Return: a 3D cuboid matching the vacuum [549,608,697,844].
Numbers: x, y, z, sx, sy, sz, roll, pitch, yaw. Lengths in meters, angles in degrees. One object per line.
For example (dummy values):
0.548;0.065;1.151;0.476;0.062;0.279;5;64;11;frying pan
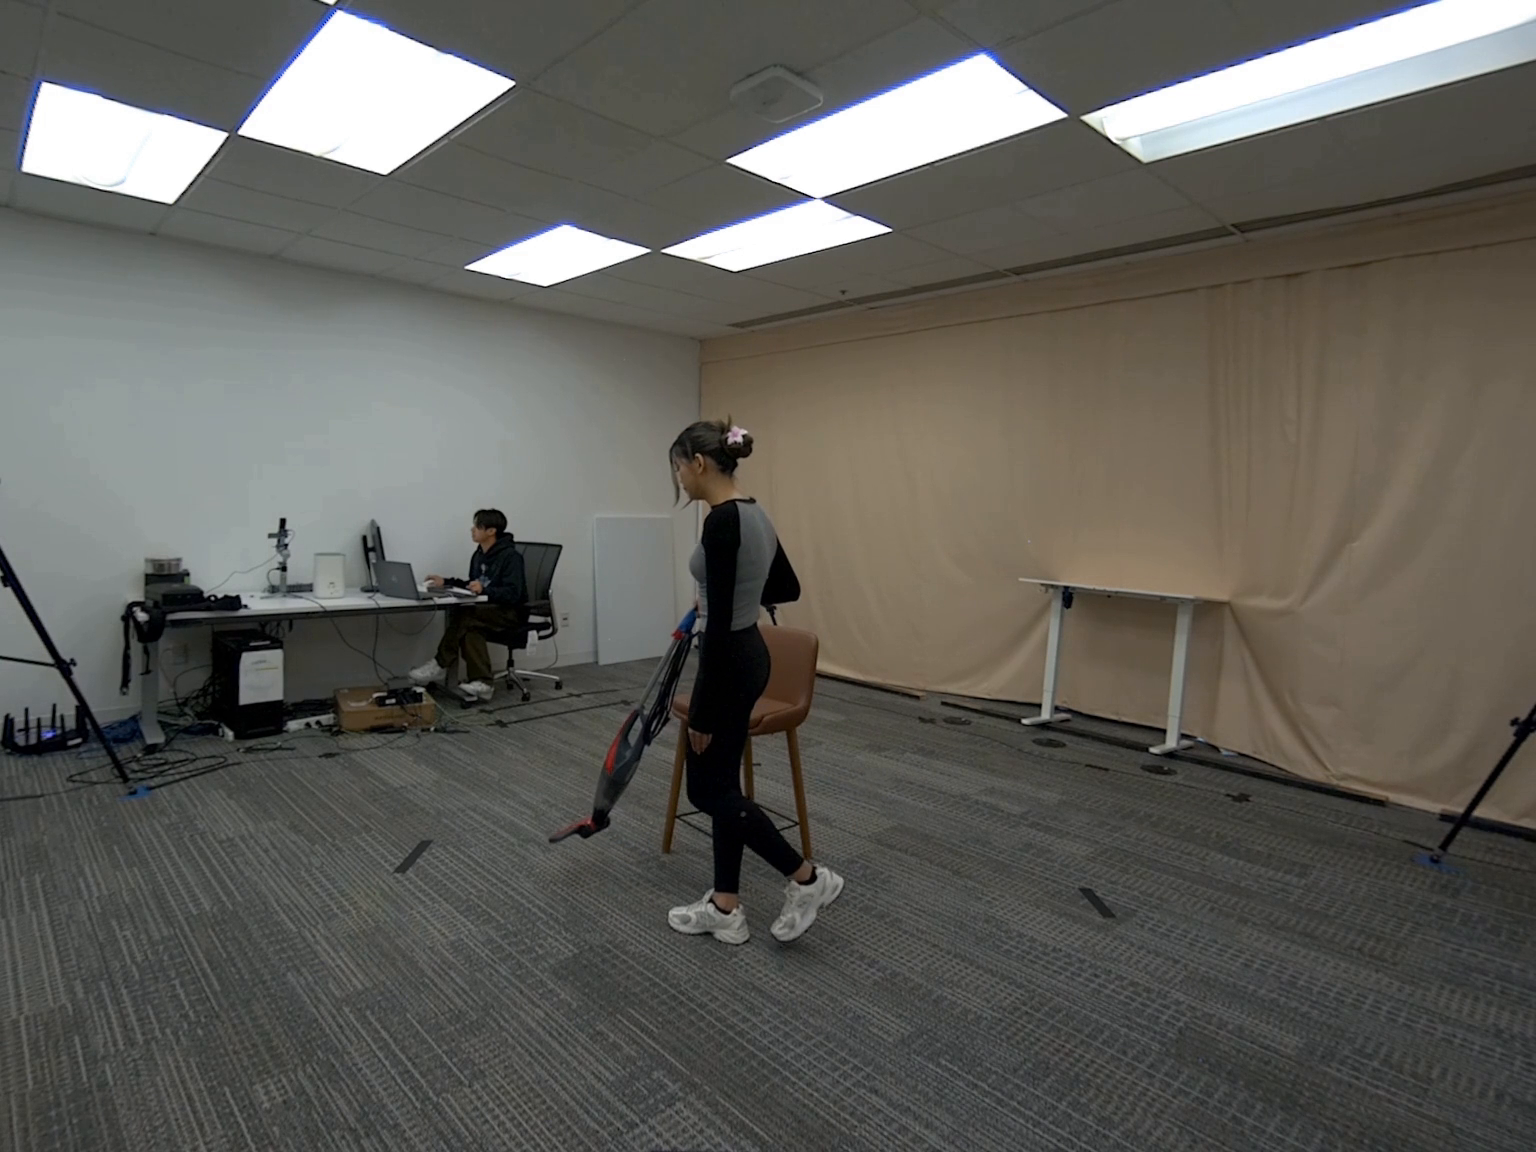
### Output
-0.449;0.505;2.954;0.147;1.045;0.249;34;17;17;vacuum
